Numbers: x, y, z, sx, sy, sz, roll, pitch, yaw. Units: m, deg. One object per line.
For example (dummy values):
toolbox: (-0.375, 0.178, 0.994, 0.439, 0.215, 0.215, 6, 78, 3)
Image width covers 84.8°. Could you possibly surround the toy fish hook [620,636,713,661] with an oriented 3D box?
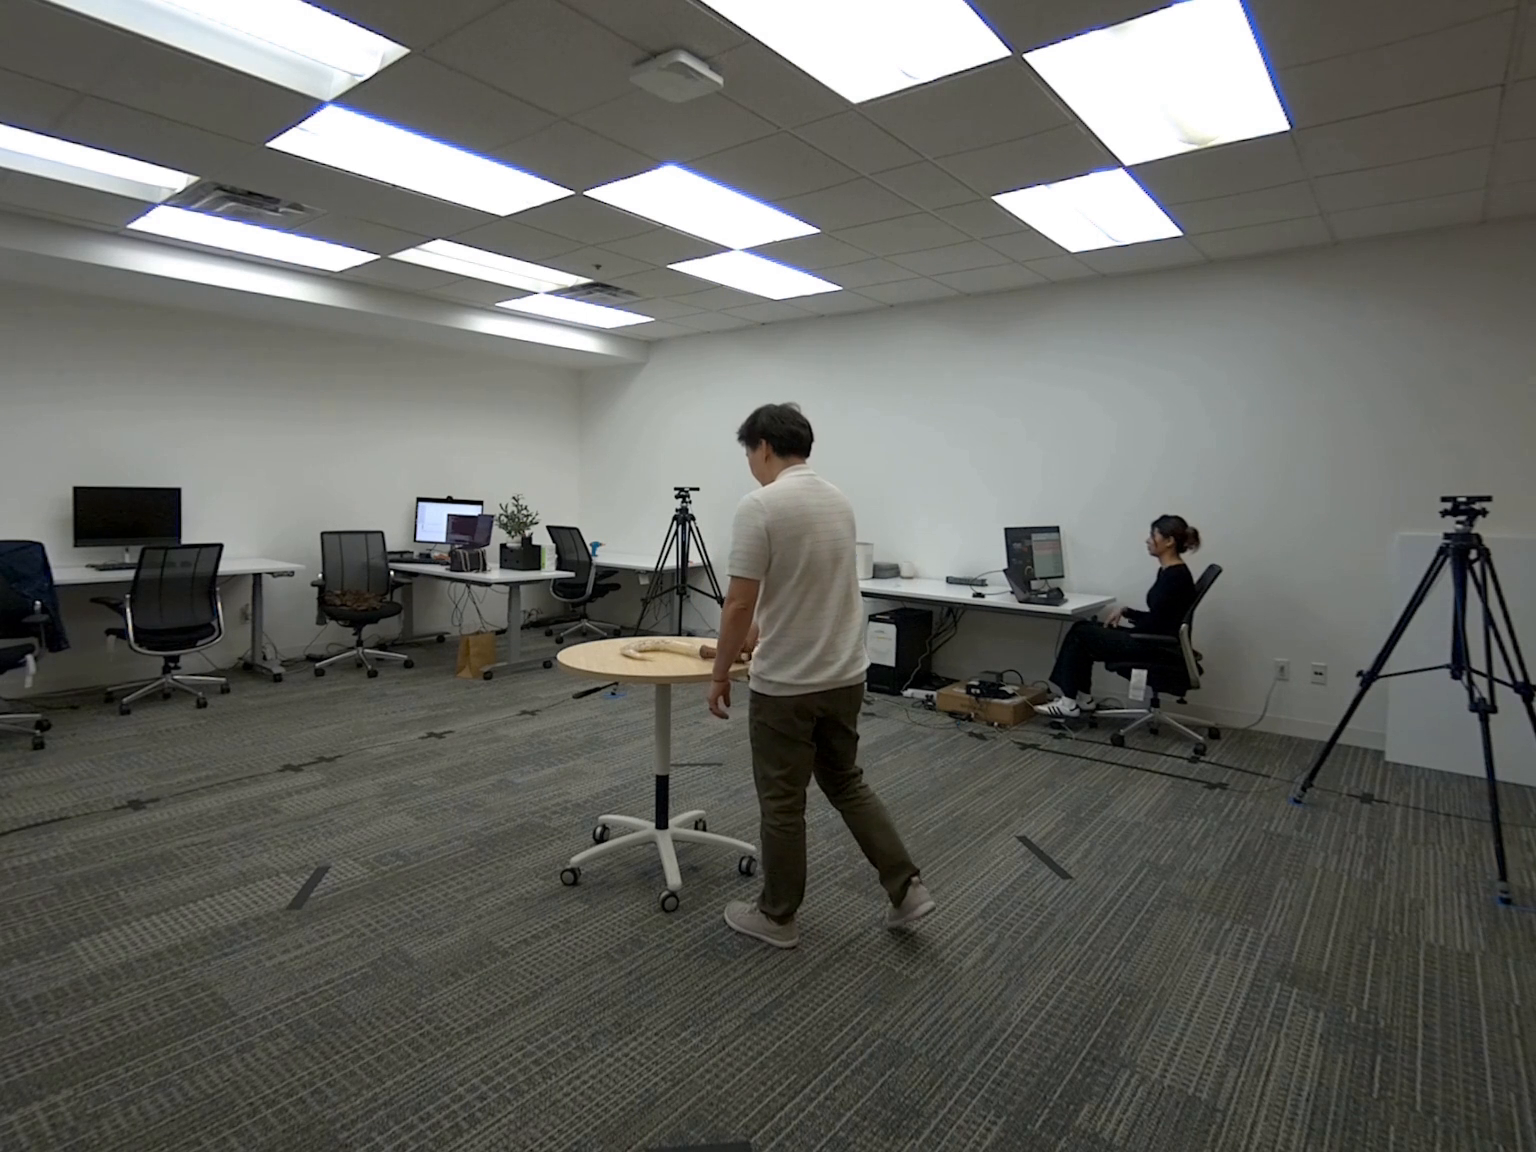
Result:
toy fish hook: (-0.316, 0.281, 3.001, 0.522, 0.048, 0.220, 2, 14, 32)
